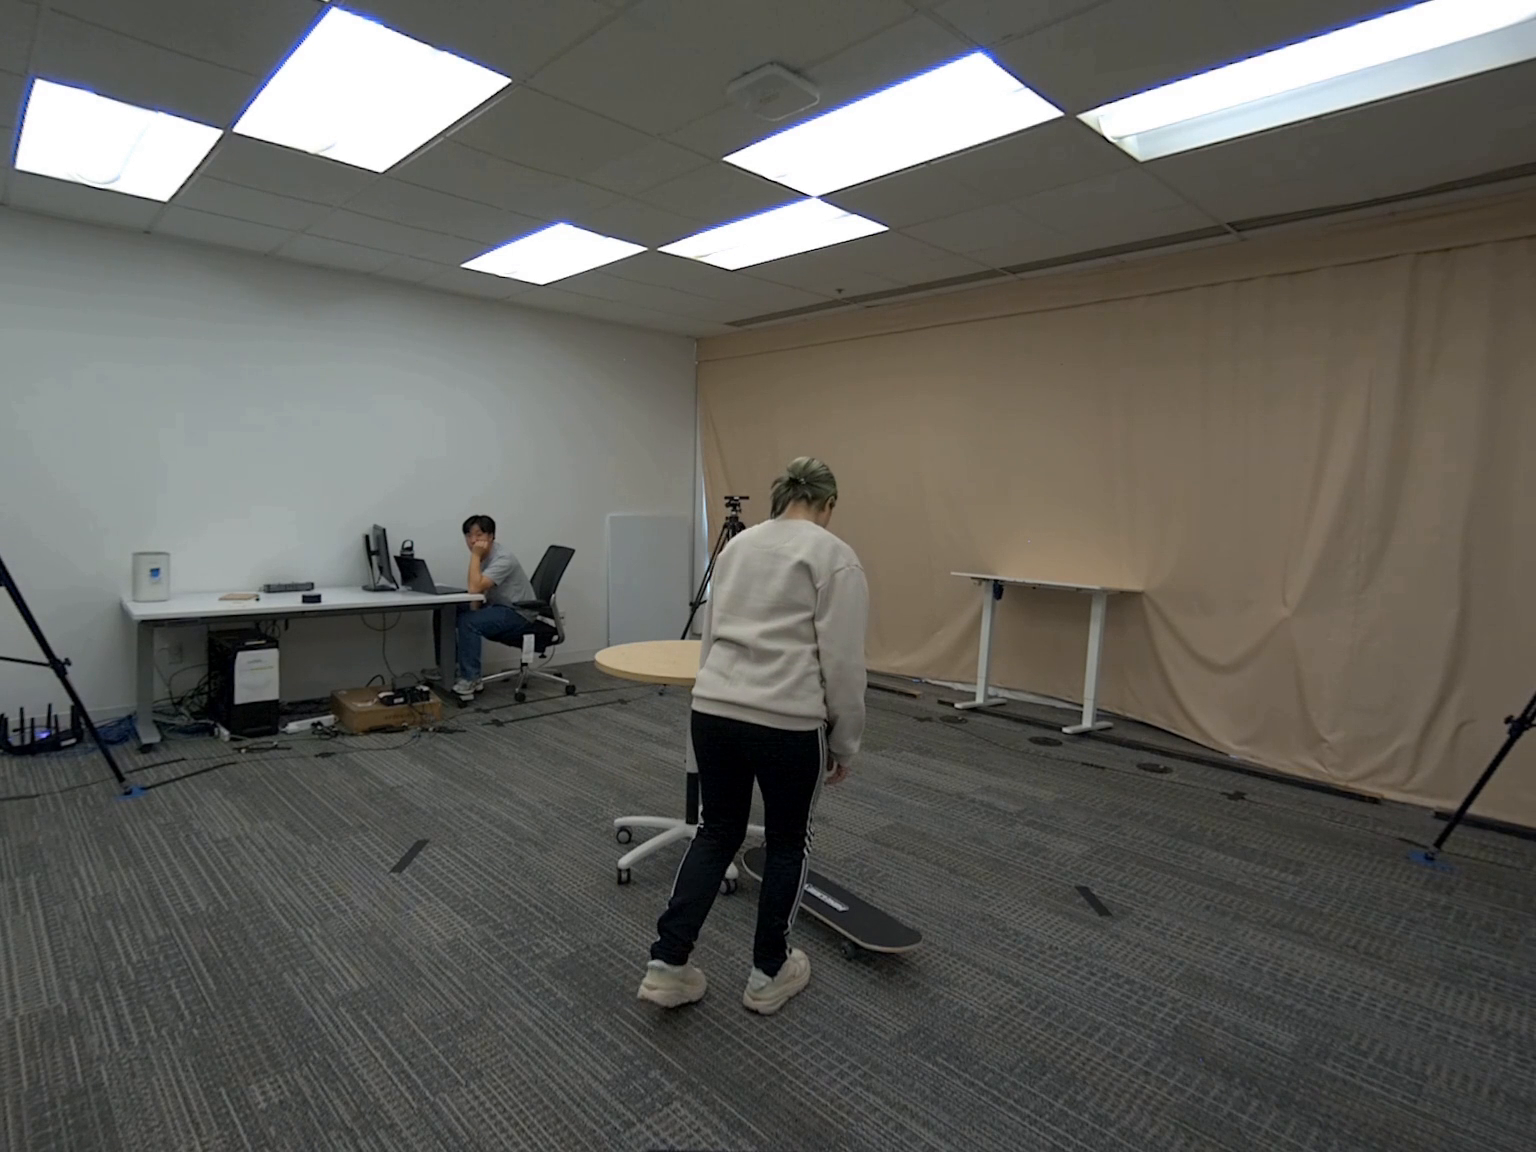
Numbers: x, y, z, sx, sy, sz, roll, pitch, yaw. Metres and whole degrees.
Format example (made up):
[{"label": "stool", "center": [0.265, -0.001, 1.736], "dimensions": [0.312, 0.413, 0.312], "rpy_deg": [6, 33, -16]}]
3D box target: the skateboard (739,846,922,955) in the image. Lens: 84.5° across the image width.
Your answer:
[{"label": "skateboard", "center": [0.167, 1.085, 2.765], "dimensions": [0.189, 0.110, 0.805], "rpy_deg": [-2, 6, -37]}]
